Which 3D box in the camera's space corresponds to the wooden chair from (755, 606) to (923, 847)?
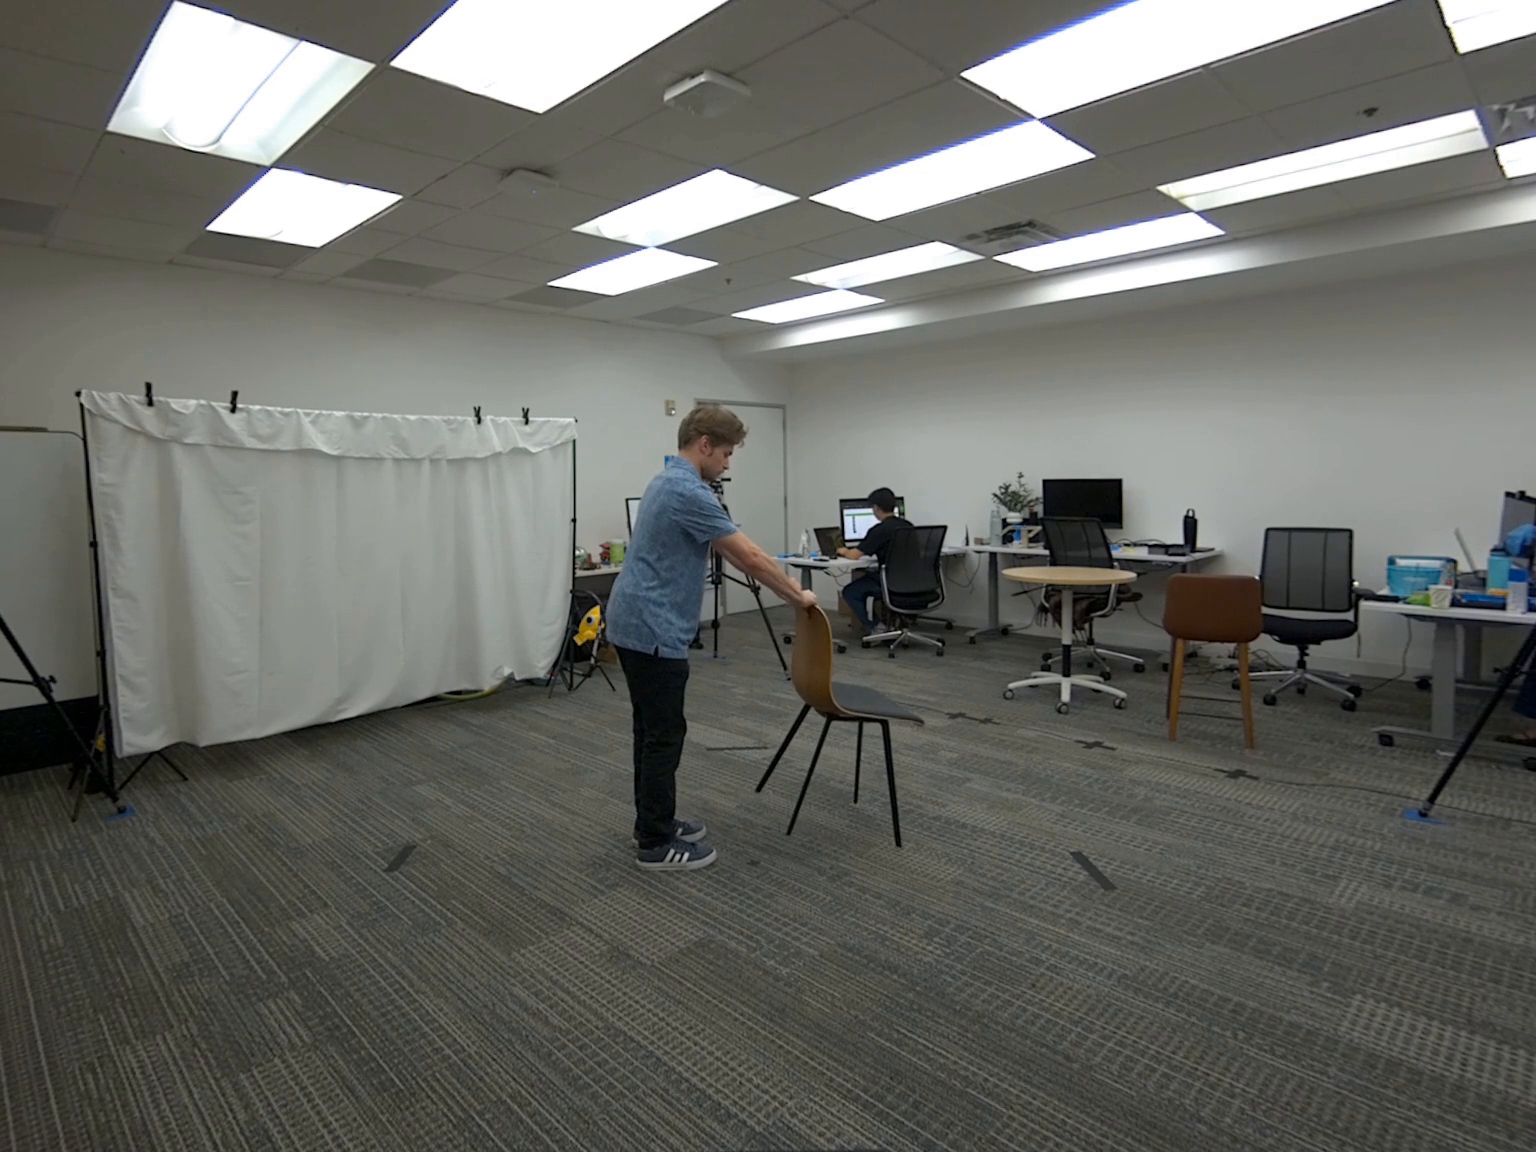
[{"bbox_3d":[0.305,0.526,3.340,0.515,0.876,0.486,6,3,-15],"label":"wooden chair"}]
